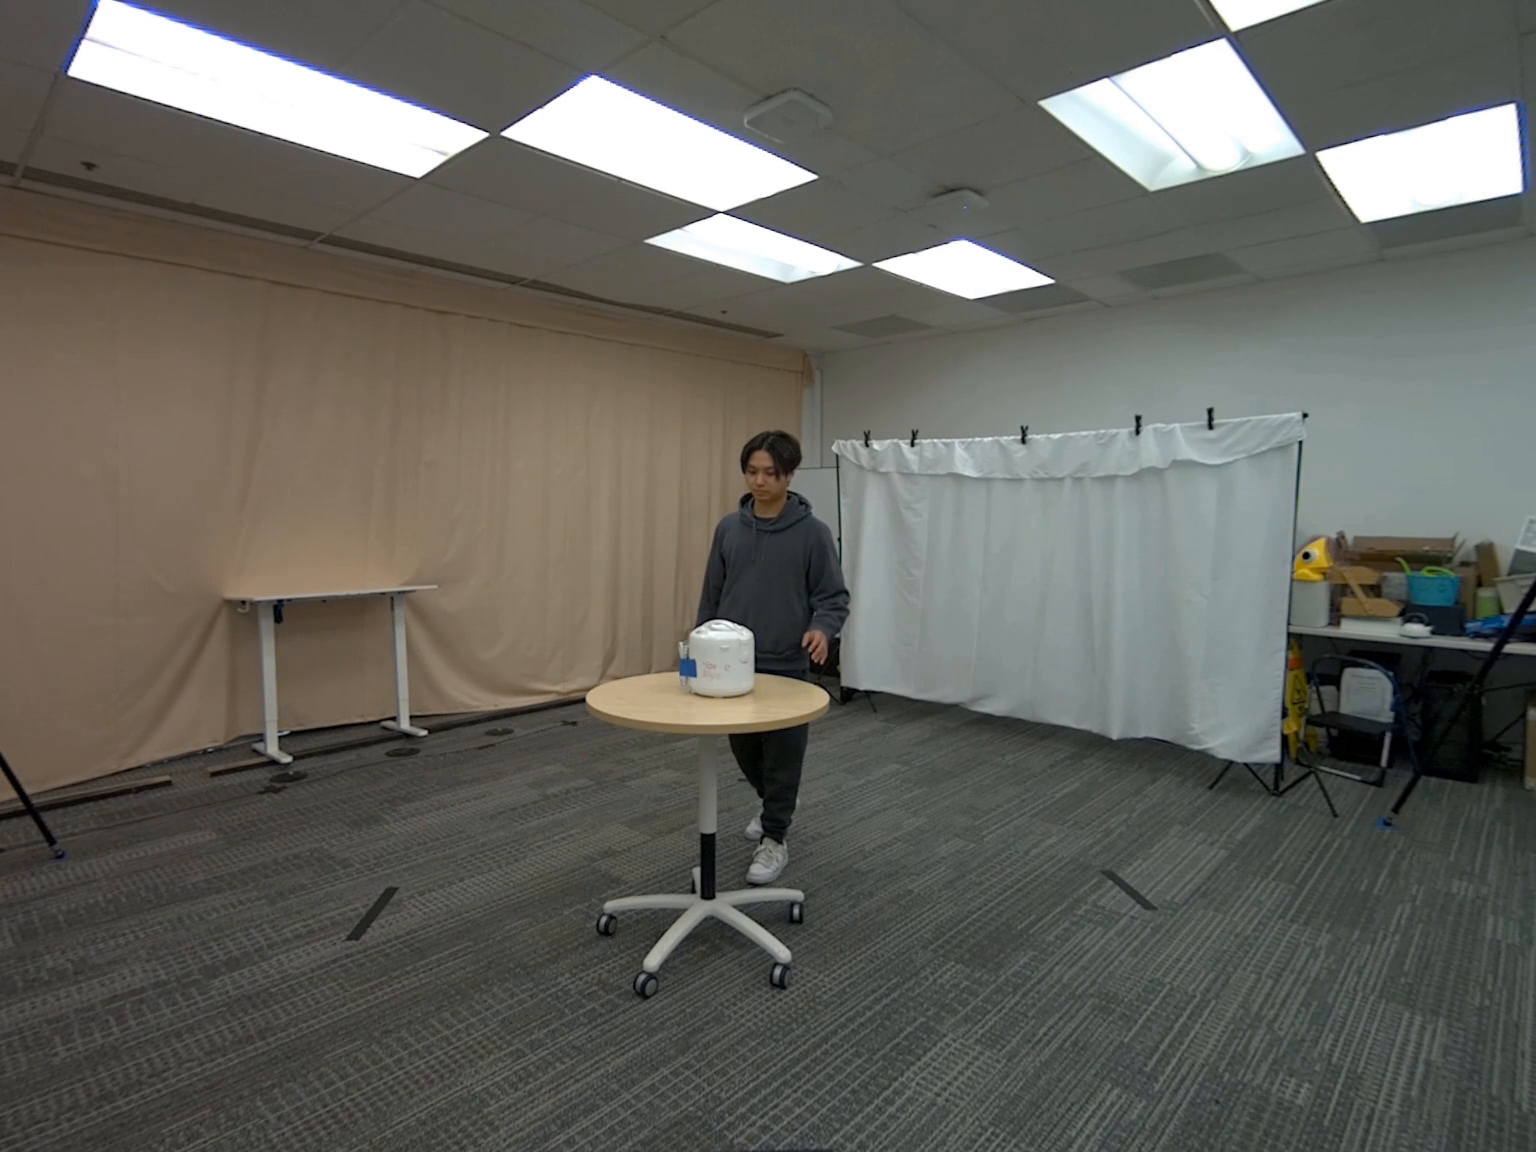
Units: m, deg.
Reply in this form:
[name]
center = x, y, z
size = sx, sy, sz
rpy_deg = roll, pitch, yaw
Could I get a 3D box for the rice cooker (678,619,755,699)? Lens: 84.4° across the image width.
[rice cooker]
center = -0.149, 0.257, 2.692
size = 0.228, 0.232, 0.211
rpy_deg = 4, 5, 44
